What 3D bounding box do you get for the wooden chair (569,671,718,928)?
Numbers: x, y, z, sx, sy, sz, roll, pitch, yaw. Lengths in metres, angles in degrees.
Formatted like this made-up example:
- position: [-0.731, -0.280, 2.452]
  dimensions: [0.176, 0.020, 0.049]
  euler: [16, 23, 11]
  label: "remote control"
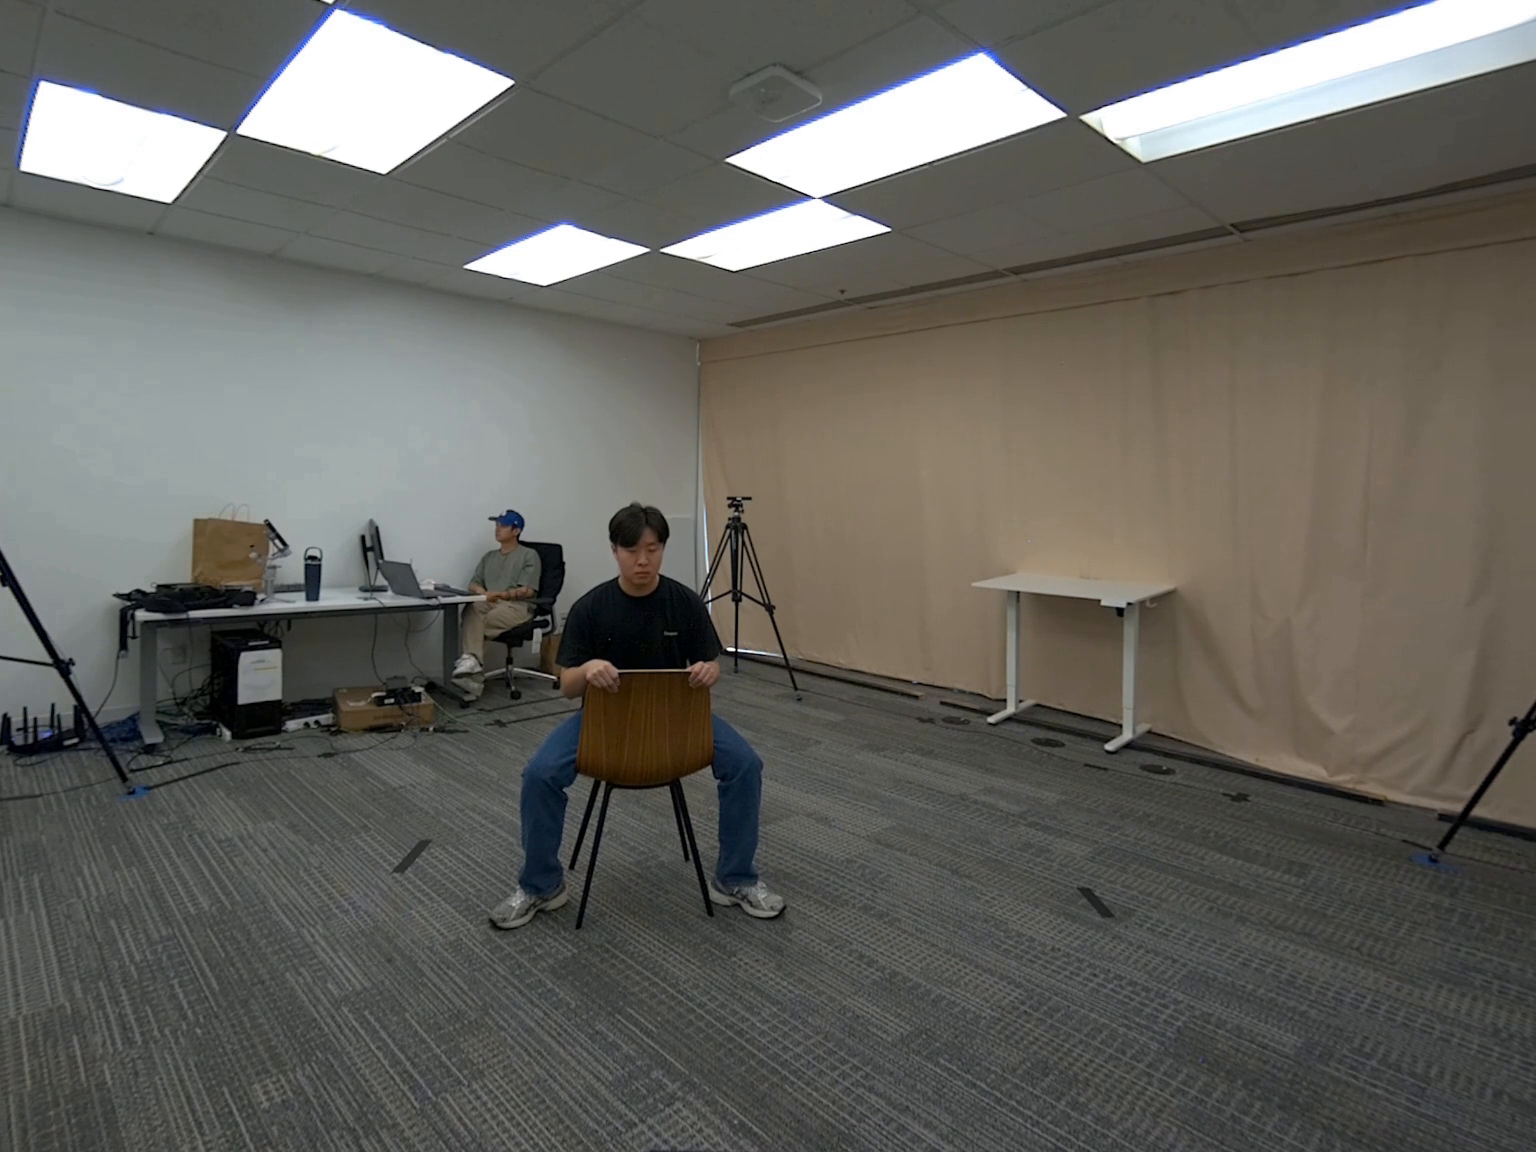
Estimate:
- position: [-0.452, 0.689, 2.942]
  dimensions: [0.473, 0.873, 0.532]
  euler: [0, 7, -15]
  label: "wooden chair"
